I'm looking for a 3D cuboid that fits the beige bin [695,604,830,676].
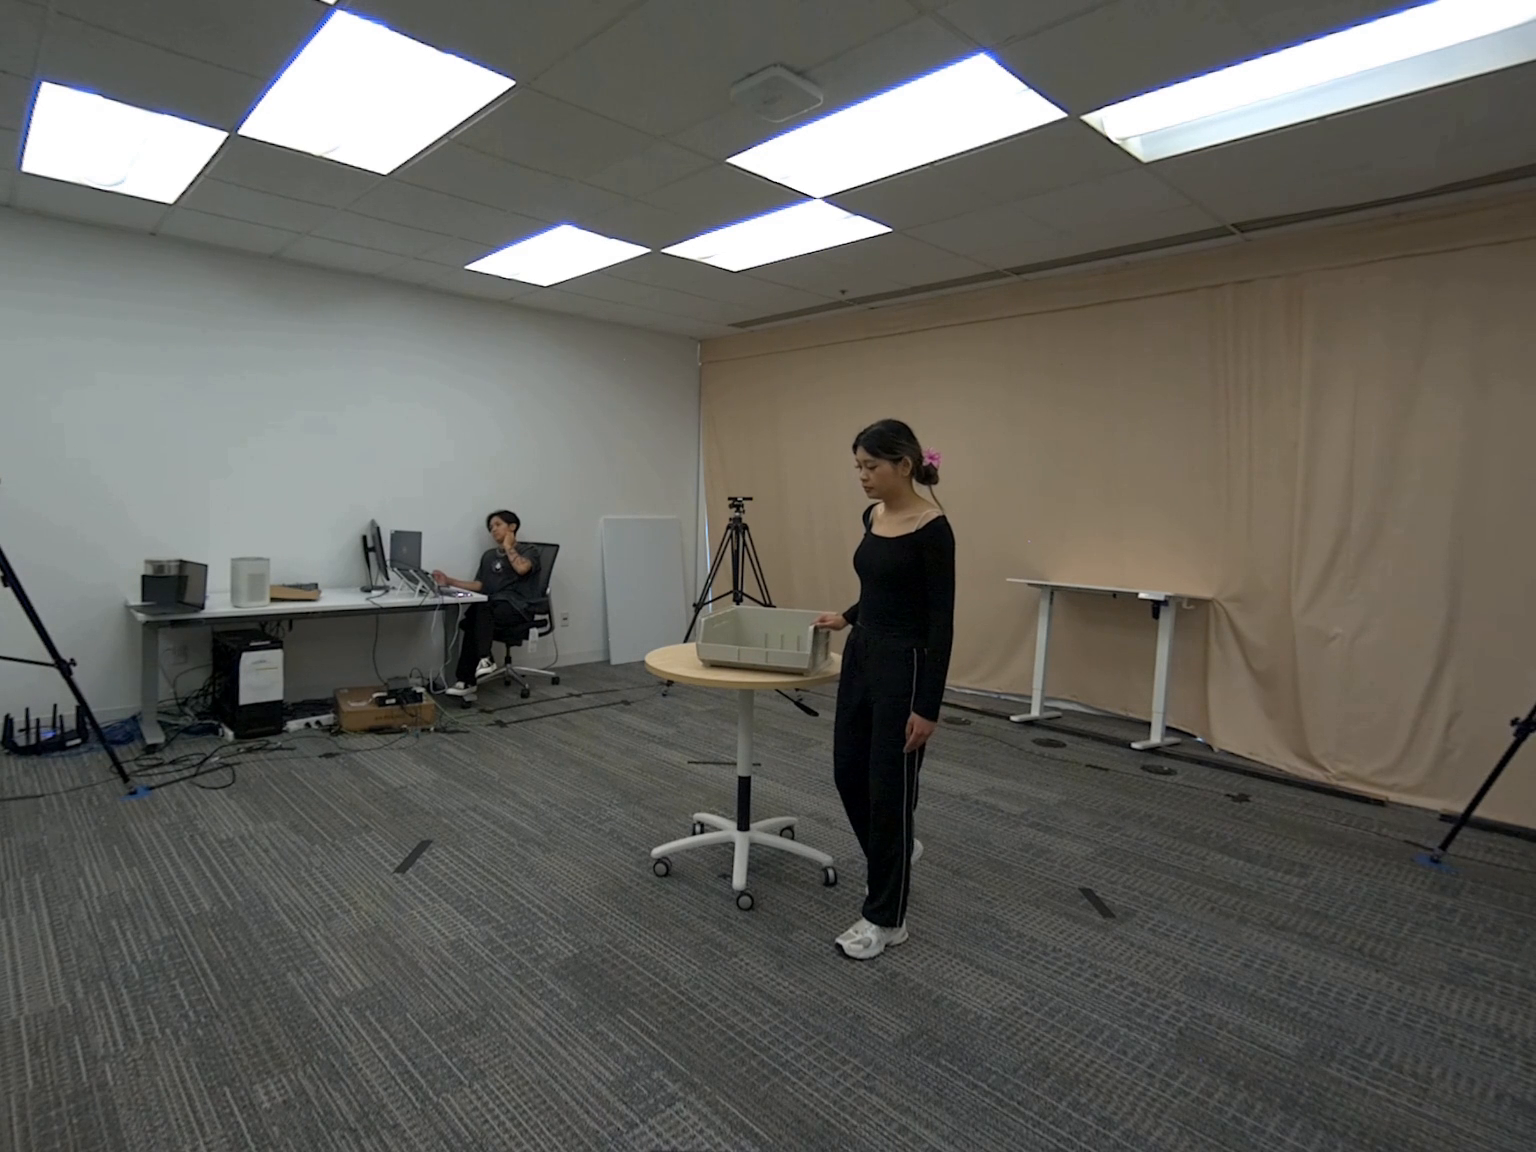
[{"bbox_3d":[0.001,0.229,3.059,0.429,0.188,0.372,2,4,18],"label":"beige bin"}]
